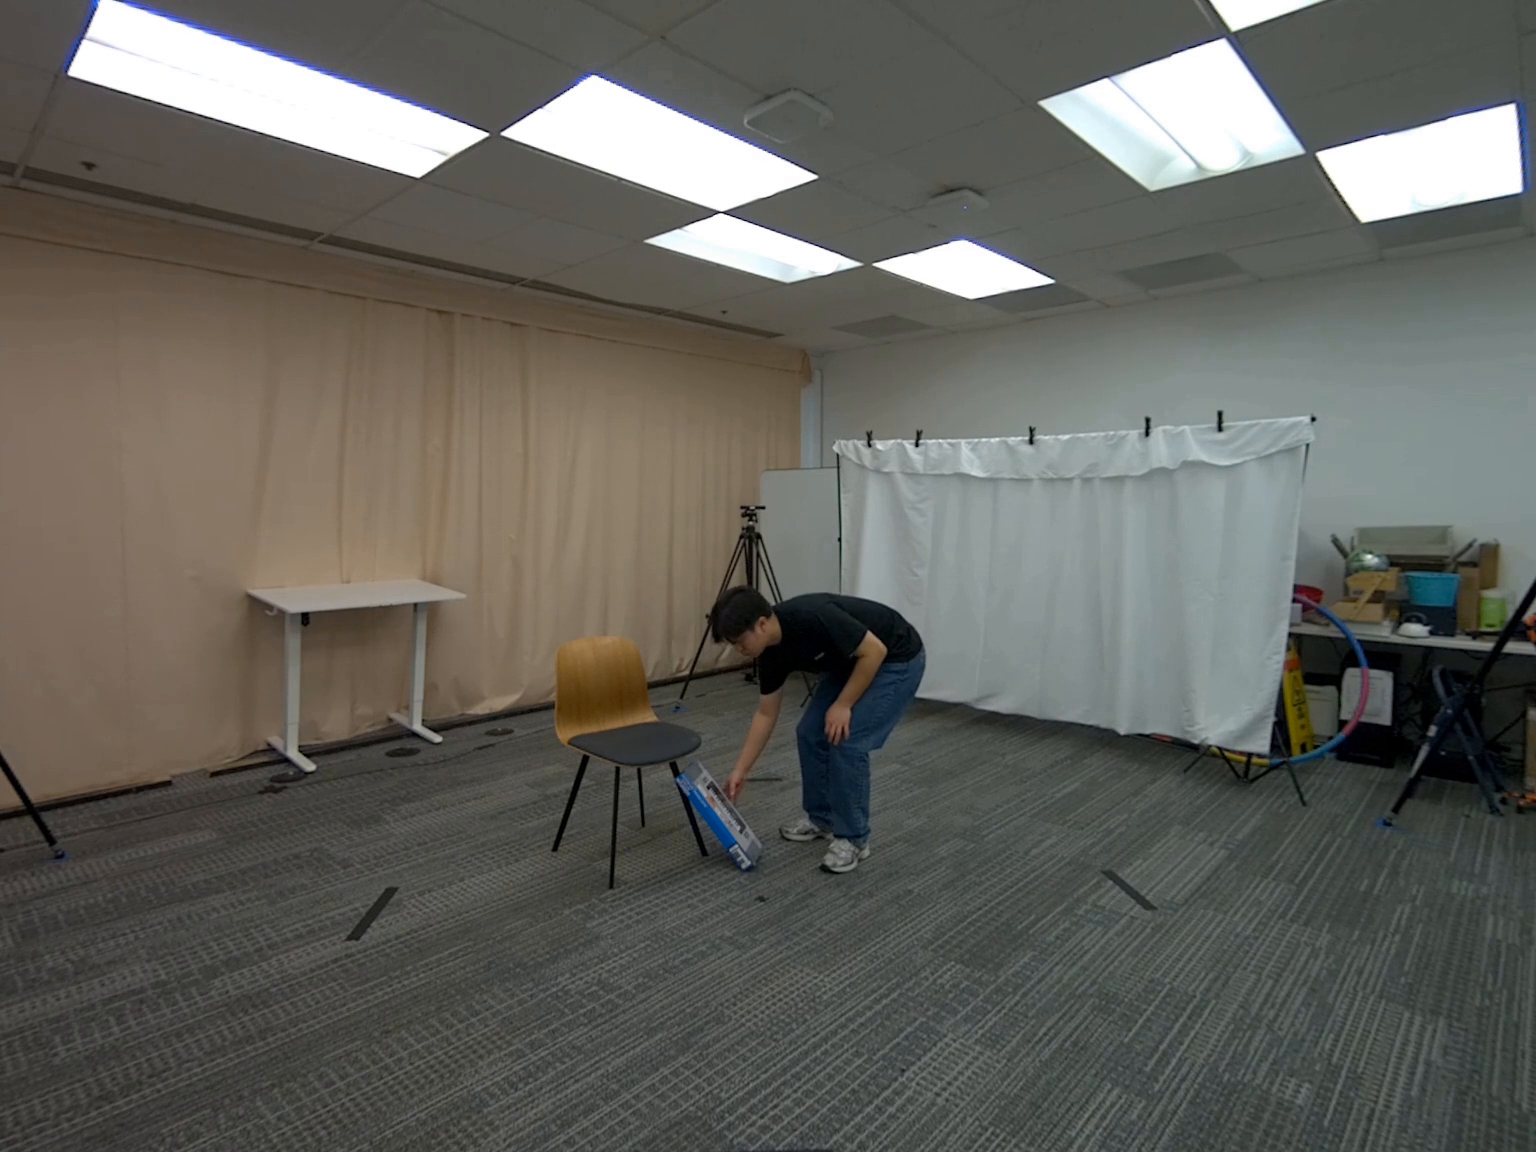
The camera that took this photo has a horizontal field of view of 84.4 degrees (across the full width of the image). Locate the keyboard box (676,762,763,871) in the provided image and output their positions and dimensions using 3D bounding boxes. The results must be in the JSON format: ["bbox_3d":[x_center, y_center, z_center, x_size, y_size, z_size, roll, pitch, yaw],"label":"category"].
[{"bbox_3d":[-0.183,0.942,3.306,0.059,0.440,0.173,-39,-7,12],"label":"keyboard box"}]
